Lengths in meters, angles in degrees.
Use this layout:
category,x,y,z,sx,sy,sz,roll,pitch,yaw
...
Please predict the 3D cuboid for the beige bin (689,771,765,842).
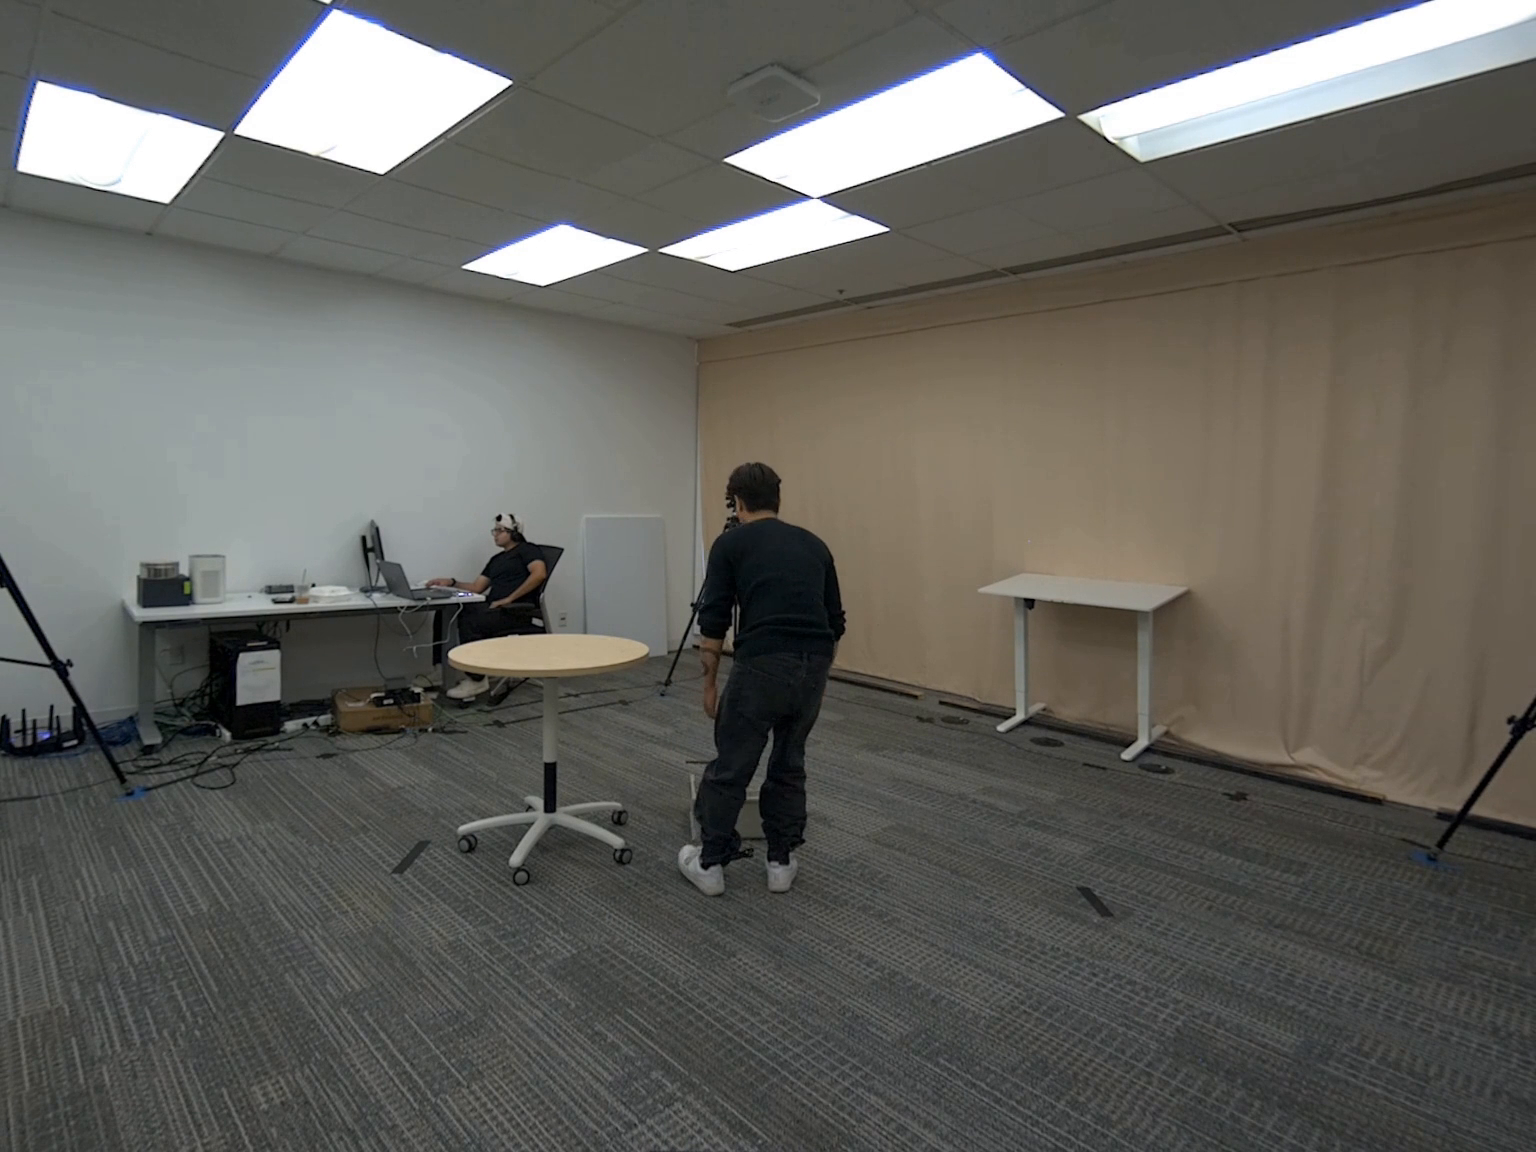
category,x,y,z,sx,sy,sz,roll,pitch,yaw
beige bin,-0.127,0.982,3.602,0.420,0.188,0.380,1,5,-6
